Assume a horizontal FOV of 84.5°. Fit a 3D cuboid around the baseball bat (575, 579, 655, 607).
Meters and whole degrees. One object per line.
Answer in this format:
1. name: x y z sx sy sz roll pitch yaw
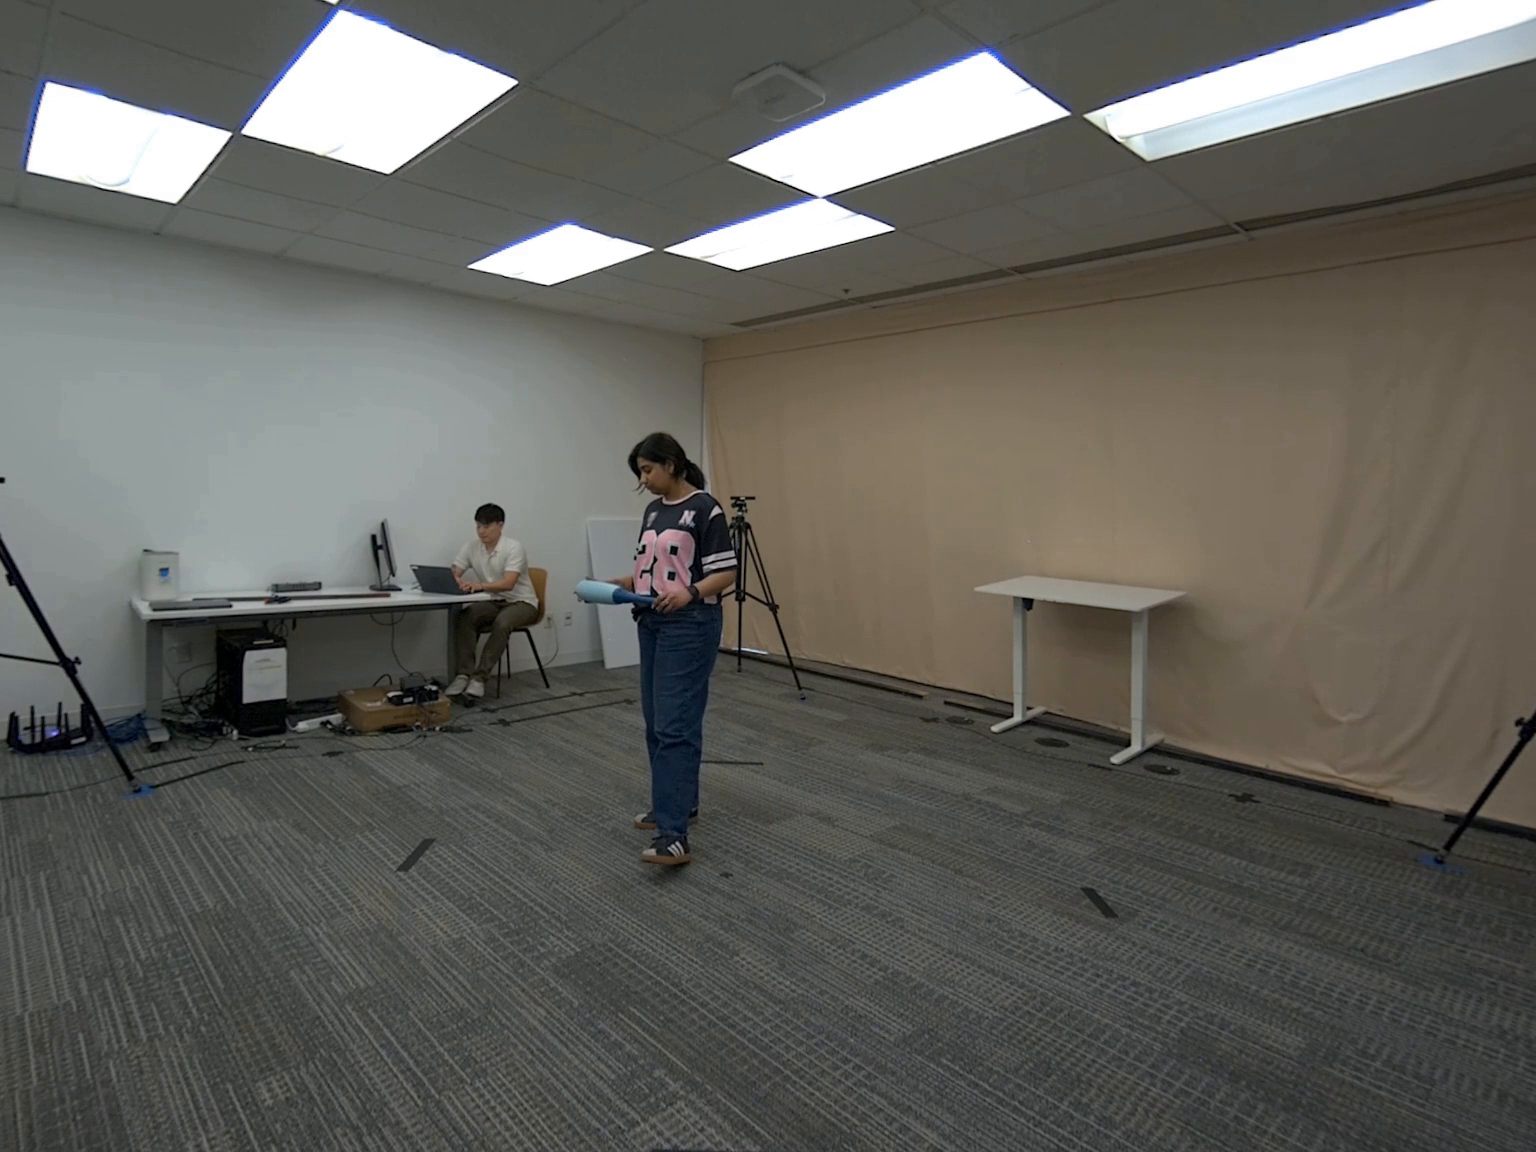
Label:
1. baseball bat: -0.587 0.083 3.334 0.557 0.089 0.087 5 6 43
